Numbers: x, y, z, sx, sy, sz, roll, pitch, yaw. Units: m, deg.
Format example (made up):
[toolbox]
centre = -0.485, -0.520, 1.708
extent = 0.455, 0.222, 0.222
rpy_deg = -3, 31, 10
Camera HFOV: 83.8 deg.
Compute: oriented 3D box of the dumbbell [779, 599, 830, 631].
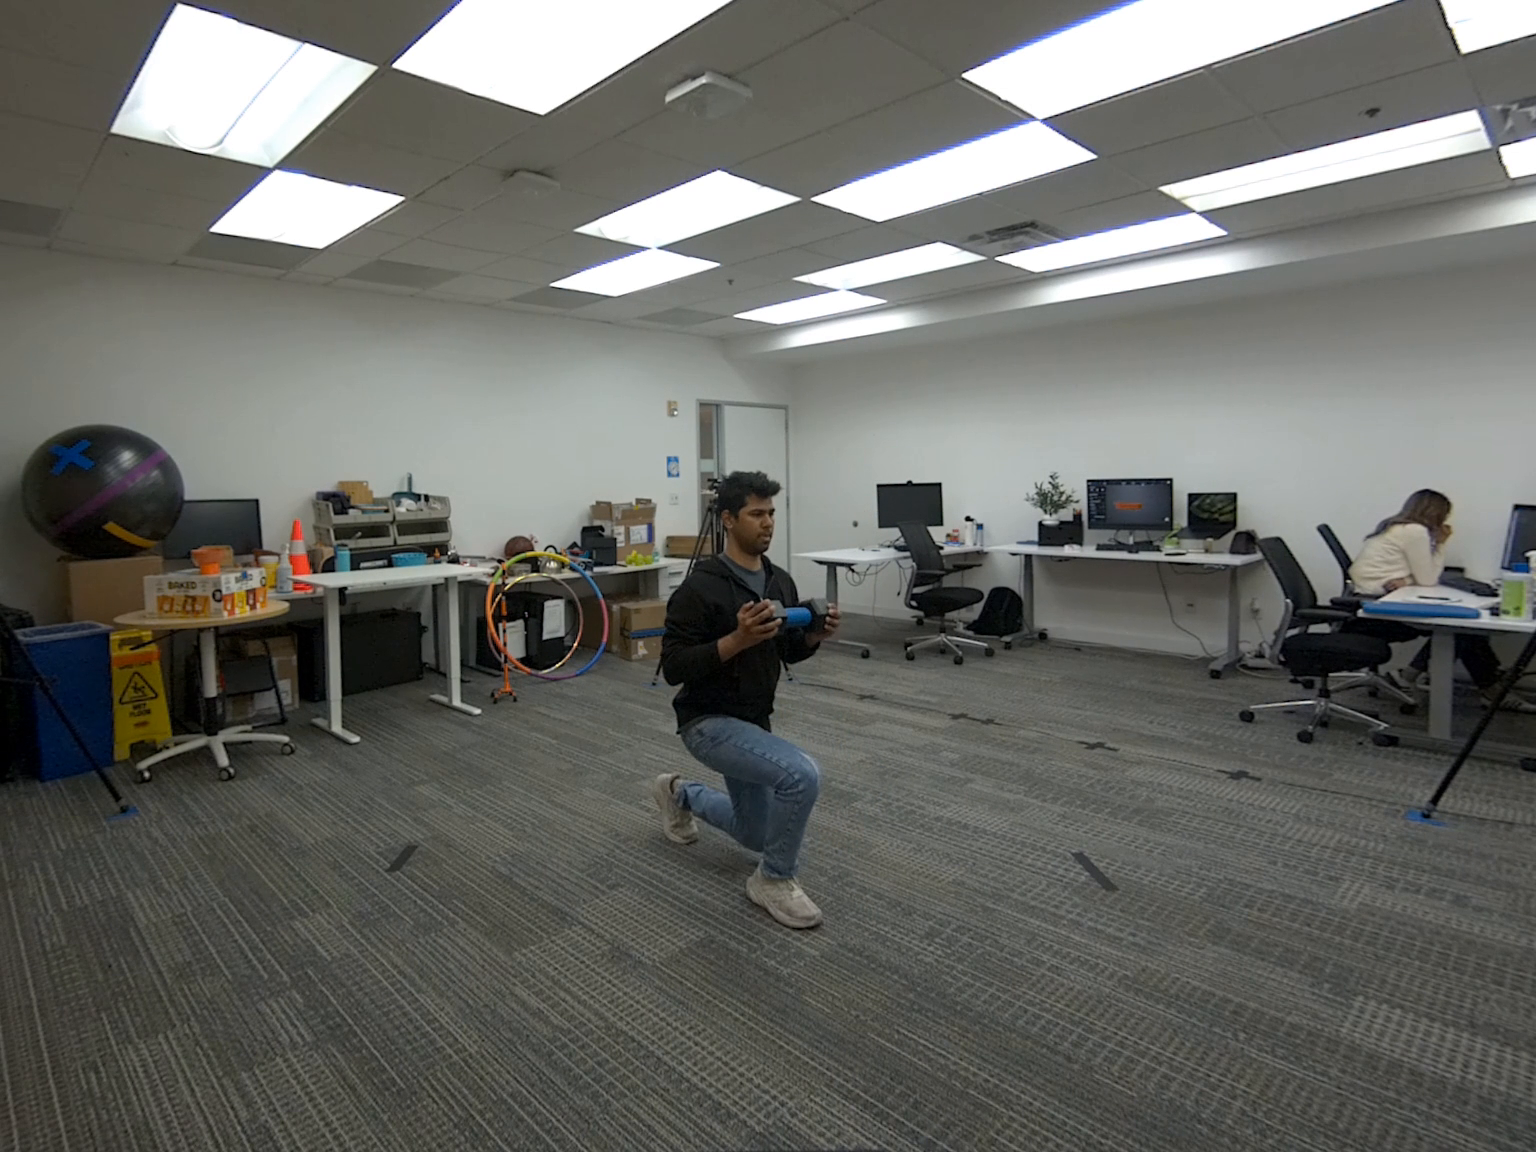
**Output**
[dumbbell]
centre = 0.061, 0.131, 2.741
extent = 0.285, 0.121, 0.113
rpy_deg = -1, 21, -38
